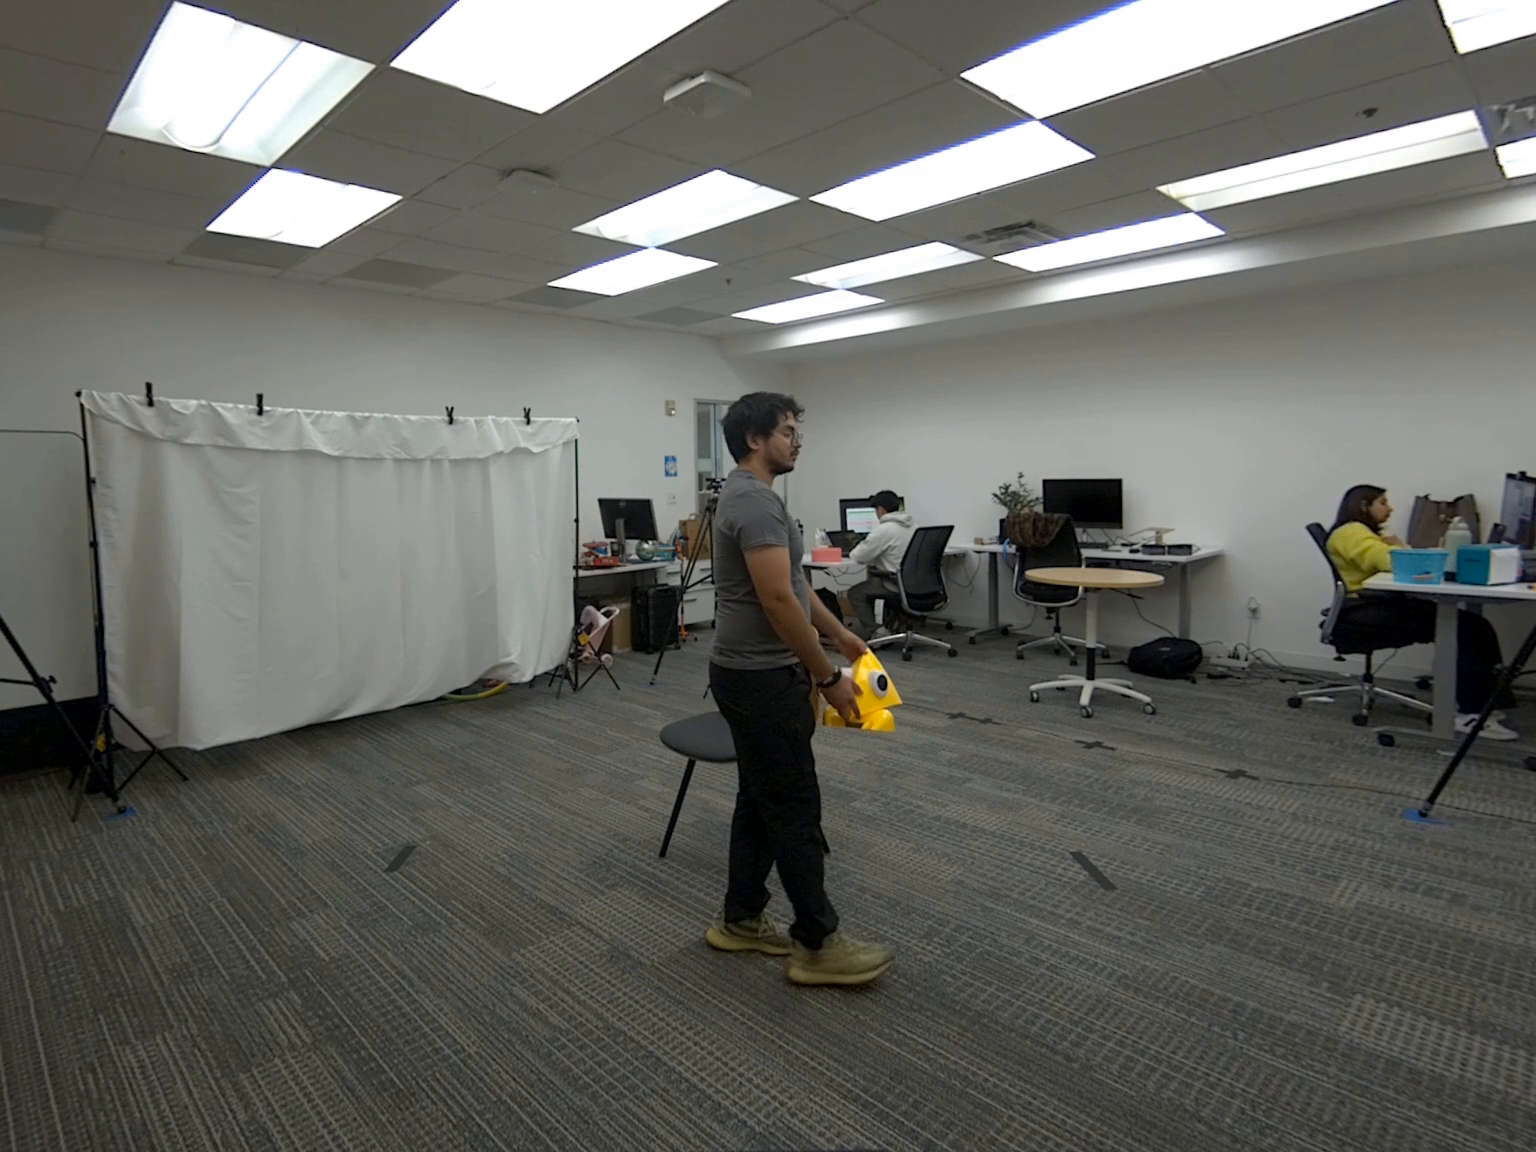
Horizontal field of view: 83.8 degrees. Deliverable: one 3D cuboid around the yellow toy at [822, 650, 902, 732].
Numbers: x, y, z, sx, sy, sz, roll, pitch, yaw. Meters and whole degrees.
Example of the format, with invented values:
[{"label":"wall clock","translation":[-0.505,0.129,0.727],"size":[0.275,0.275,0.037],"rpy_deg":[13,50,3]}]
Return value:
[{"label":"yellow toy","translation":[0.267,0.320,2.454],"size":[0.209,0.232,0.187],"rpy_deg":[1,-9,23]}]
